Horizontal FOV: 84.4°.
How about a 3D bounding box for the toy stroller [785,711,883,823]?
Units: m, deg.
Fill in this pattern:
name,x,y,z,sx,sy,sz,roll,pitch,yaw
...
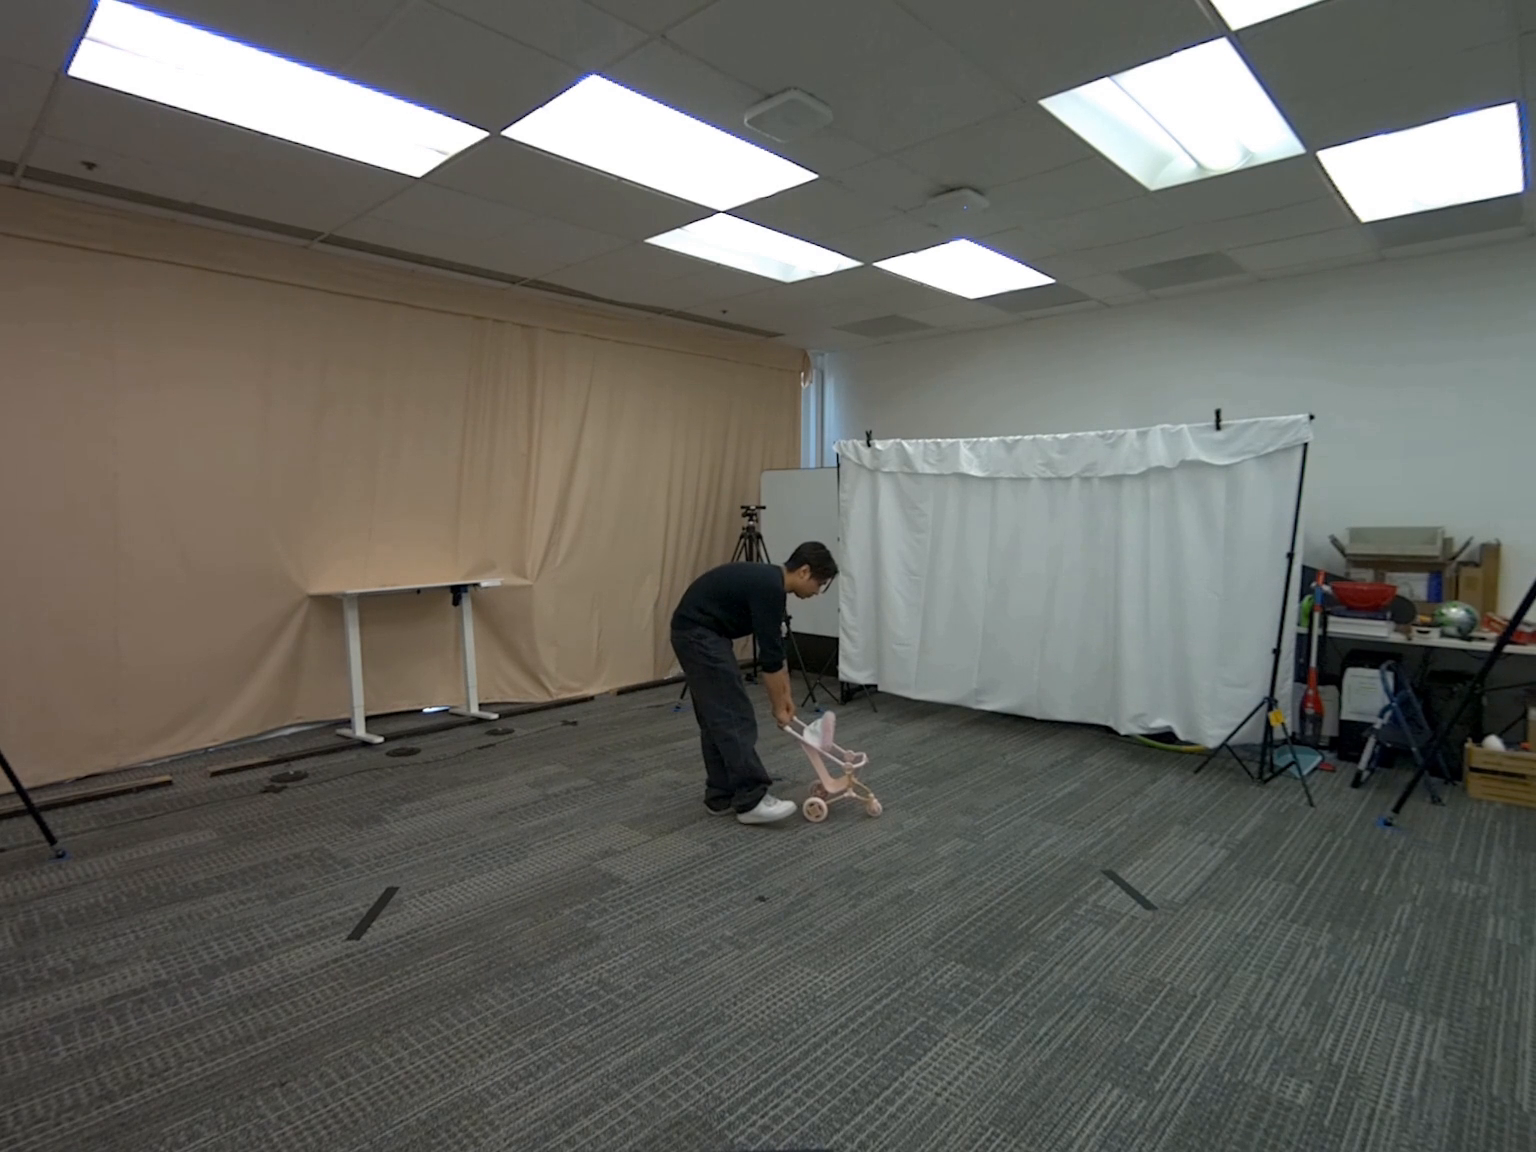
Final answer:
name,x,y,z,sx,sy,sz,roll,pitch,yaw
toy stroller,0.297,0.853,3.798,0.346,0.536,0.277,-15,-1,15
